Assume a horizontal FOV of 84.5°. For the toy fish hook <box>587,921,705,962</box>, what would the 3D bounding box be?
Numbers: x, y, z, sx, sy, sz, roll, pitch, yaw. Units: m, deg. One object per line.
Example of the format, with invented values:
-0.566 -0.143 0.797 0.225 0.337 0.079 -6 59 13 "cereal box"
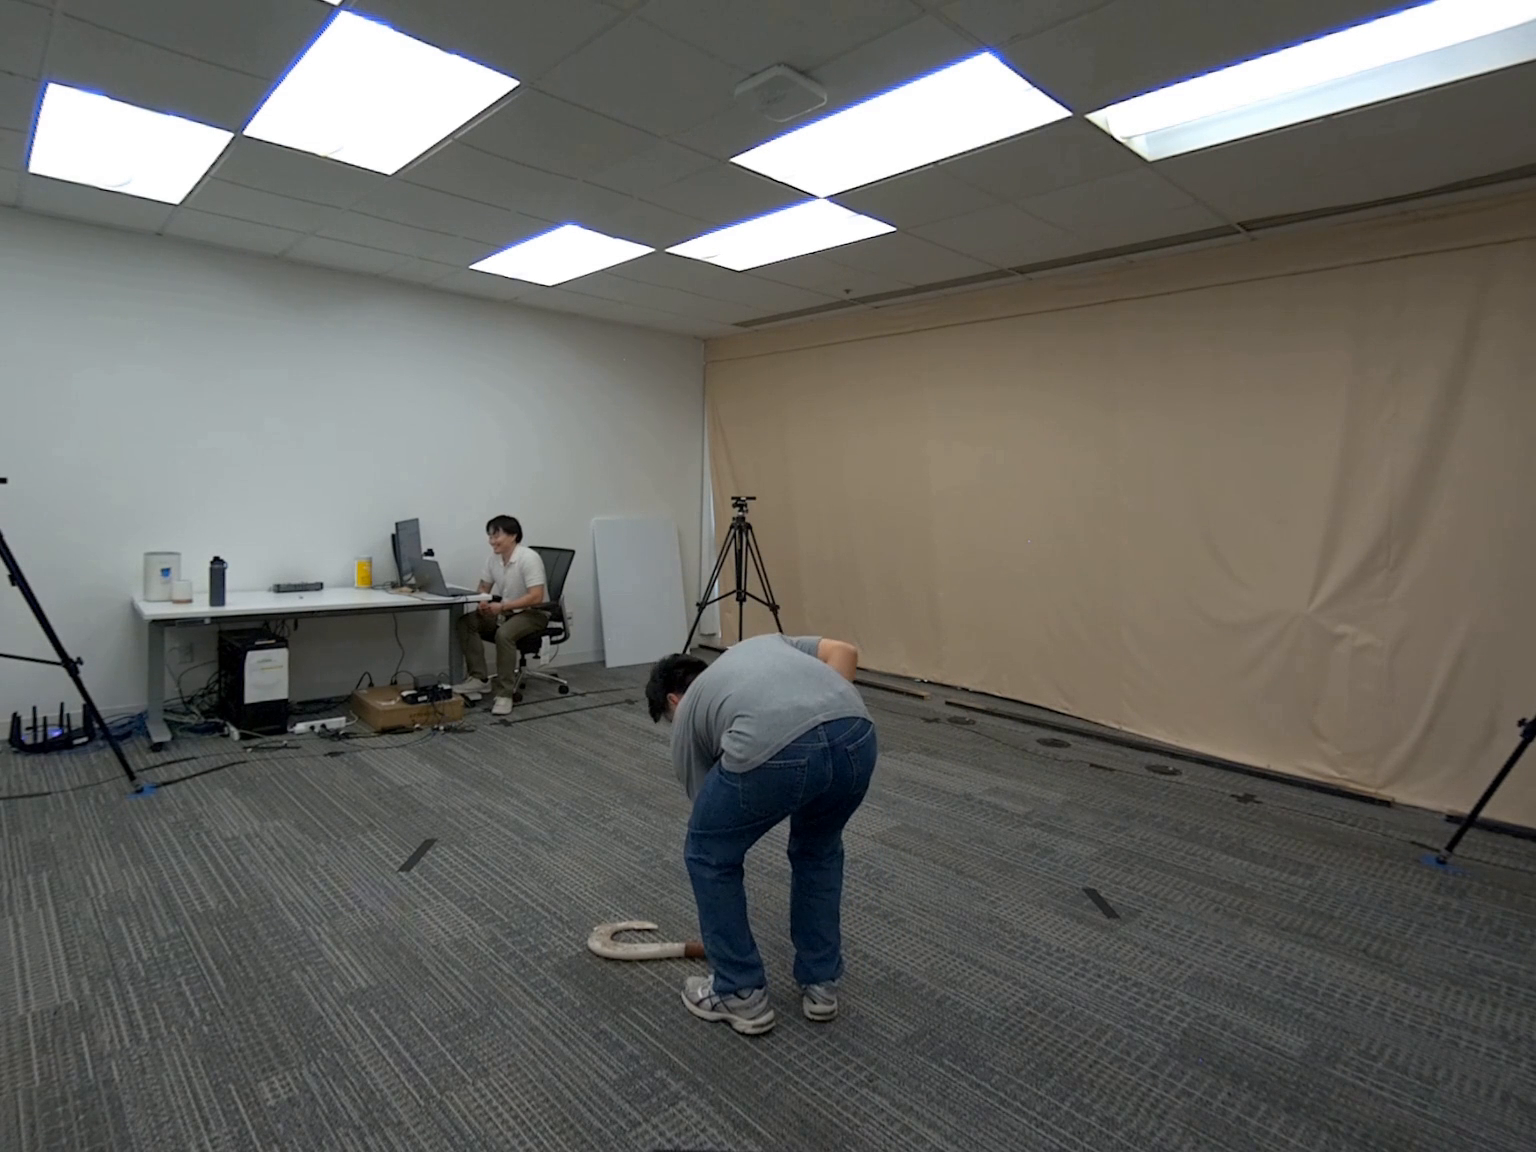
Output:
-0.307 1.124 2.594 0.509 0.048 0.224 2 6 6 "toy fish hook"
